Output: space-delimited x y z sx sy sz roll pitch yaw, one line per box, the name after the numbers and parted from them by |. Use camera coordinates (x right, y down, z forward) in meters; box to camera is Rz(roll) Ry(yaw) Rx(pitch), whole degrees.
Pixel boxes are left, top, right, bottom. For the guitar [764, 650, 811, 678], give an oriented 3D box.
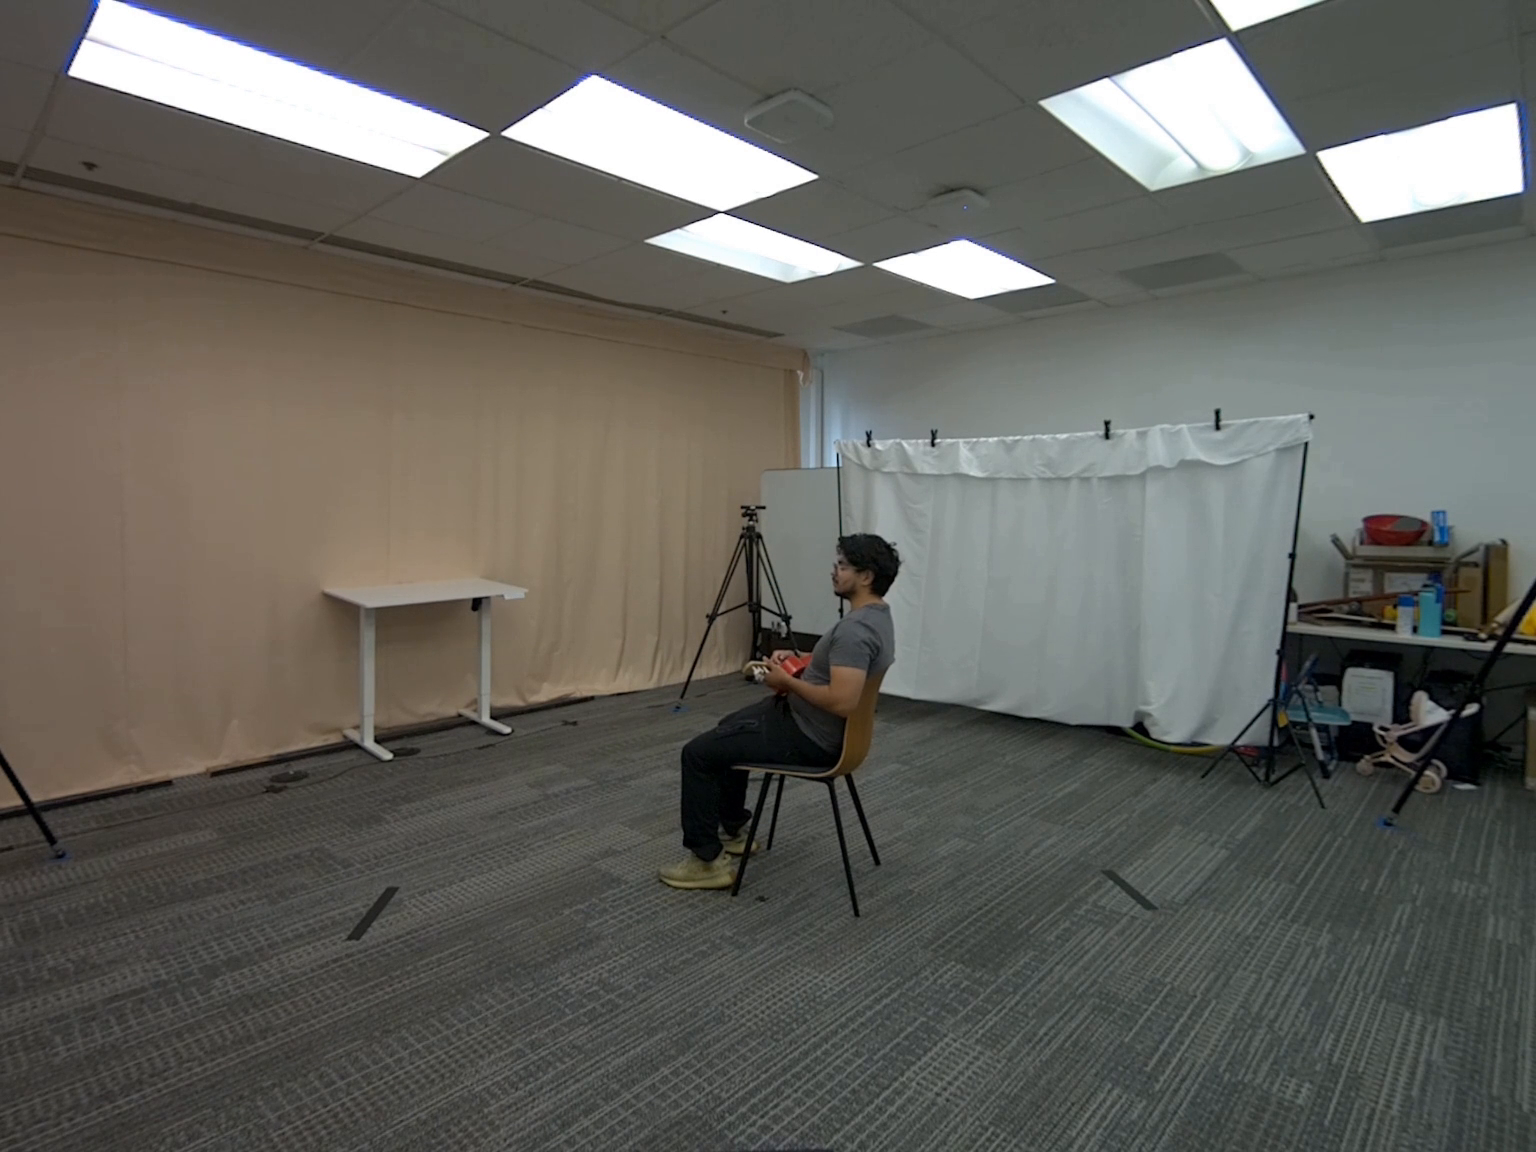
0.034 0.377 3.083 0.073 0.193 0.482 49 24 25 | guitar
